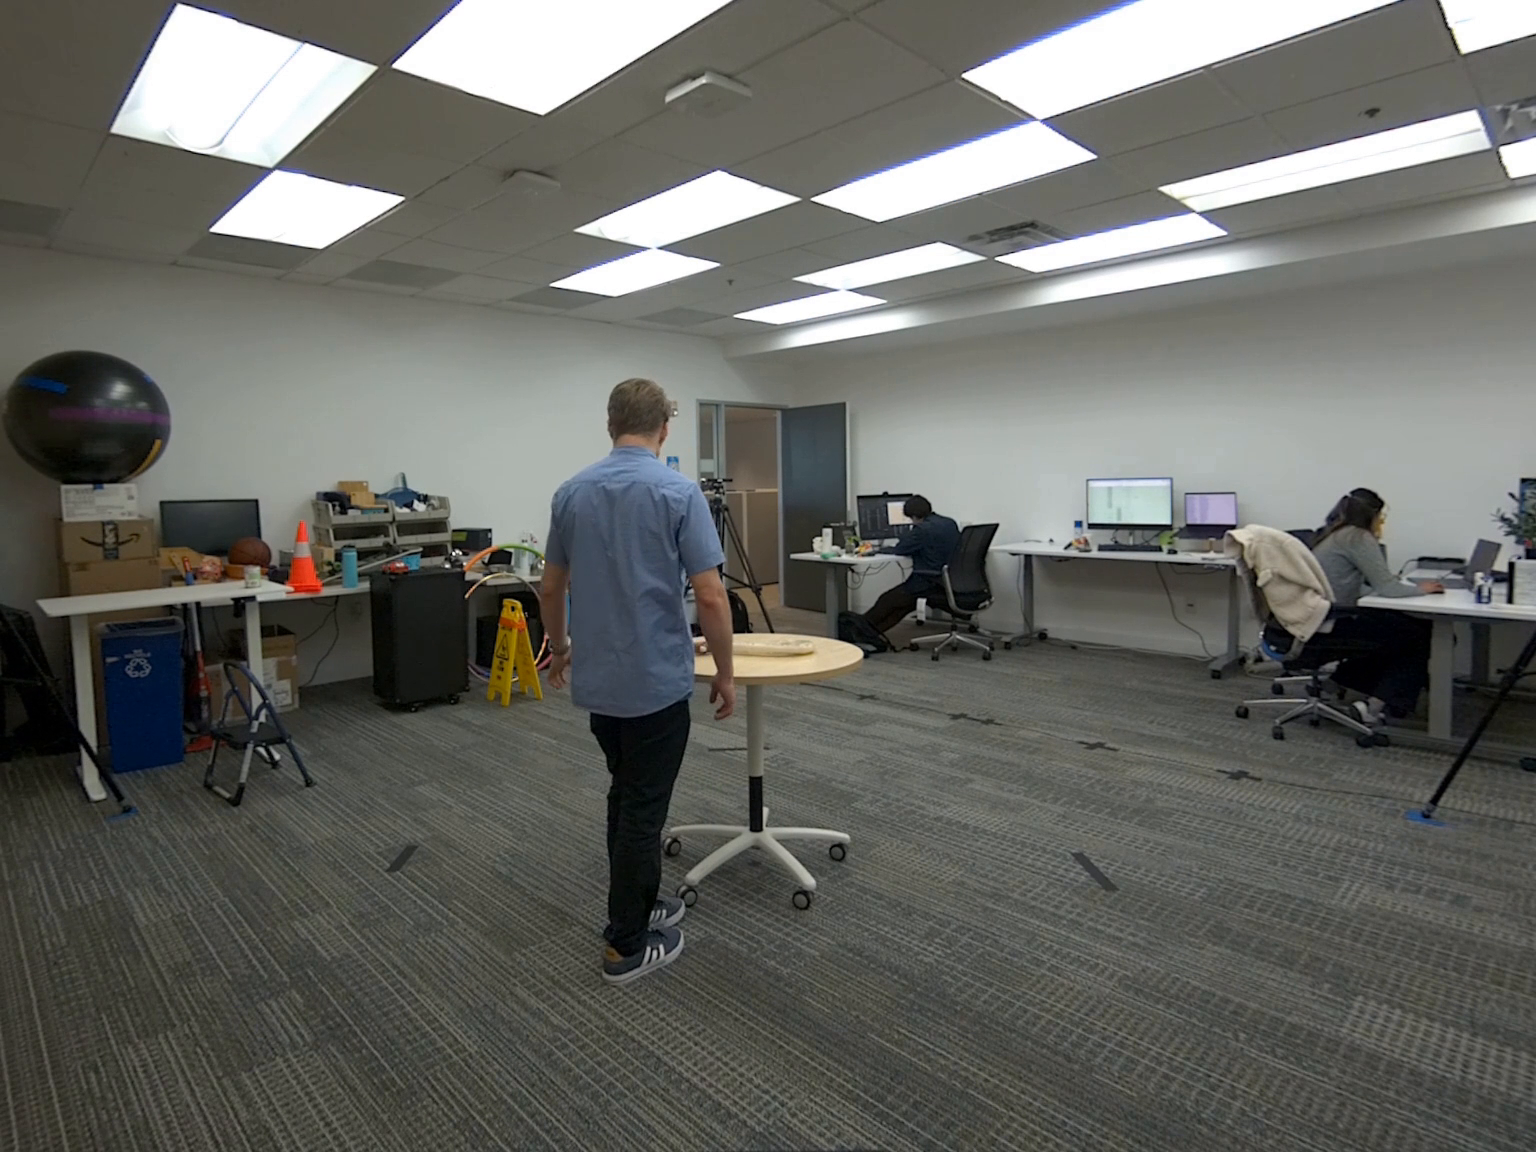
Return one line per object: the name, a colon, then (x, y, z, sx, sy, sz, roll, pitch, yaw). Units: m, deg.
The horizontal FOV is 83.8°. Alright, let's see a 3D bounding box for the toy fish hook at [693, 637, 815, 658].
toy fish hook: (-0.086, 0.257, 3.045, 0.509, 0.048, 0.223, 1, -2, 4)
